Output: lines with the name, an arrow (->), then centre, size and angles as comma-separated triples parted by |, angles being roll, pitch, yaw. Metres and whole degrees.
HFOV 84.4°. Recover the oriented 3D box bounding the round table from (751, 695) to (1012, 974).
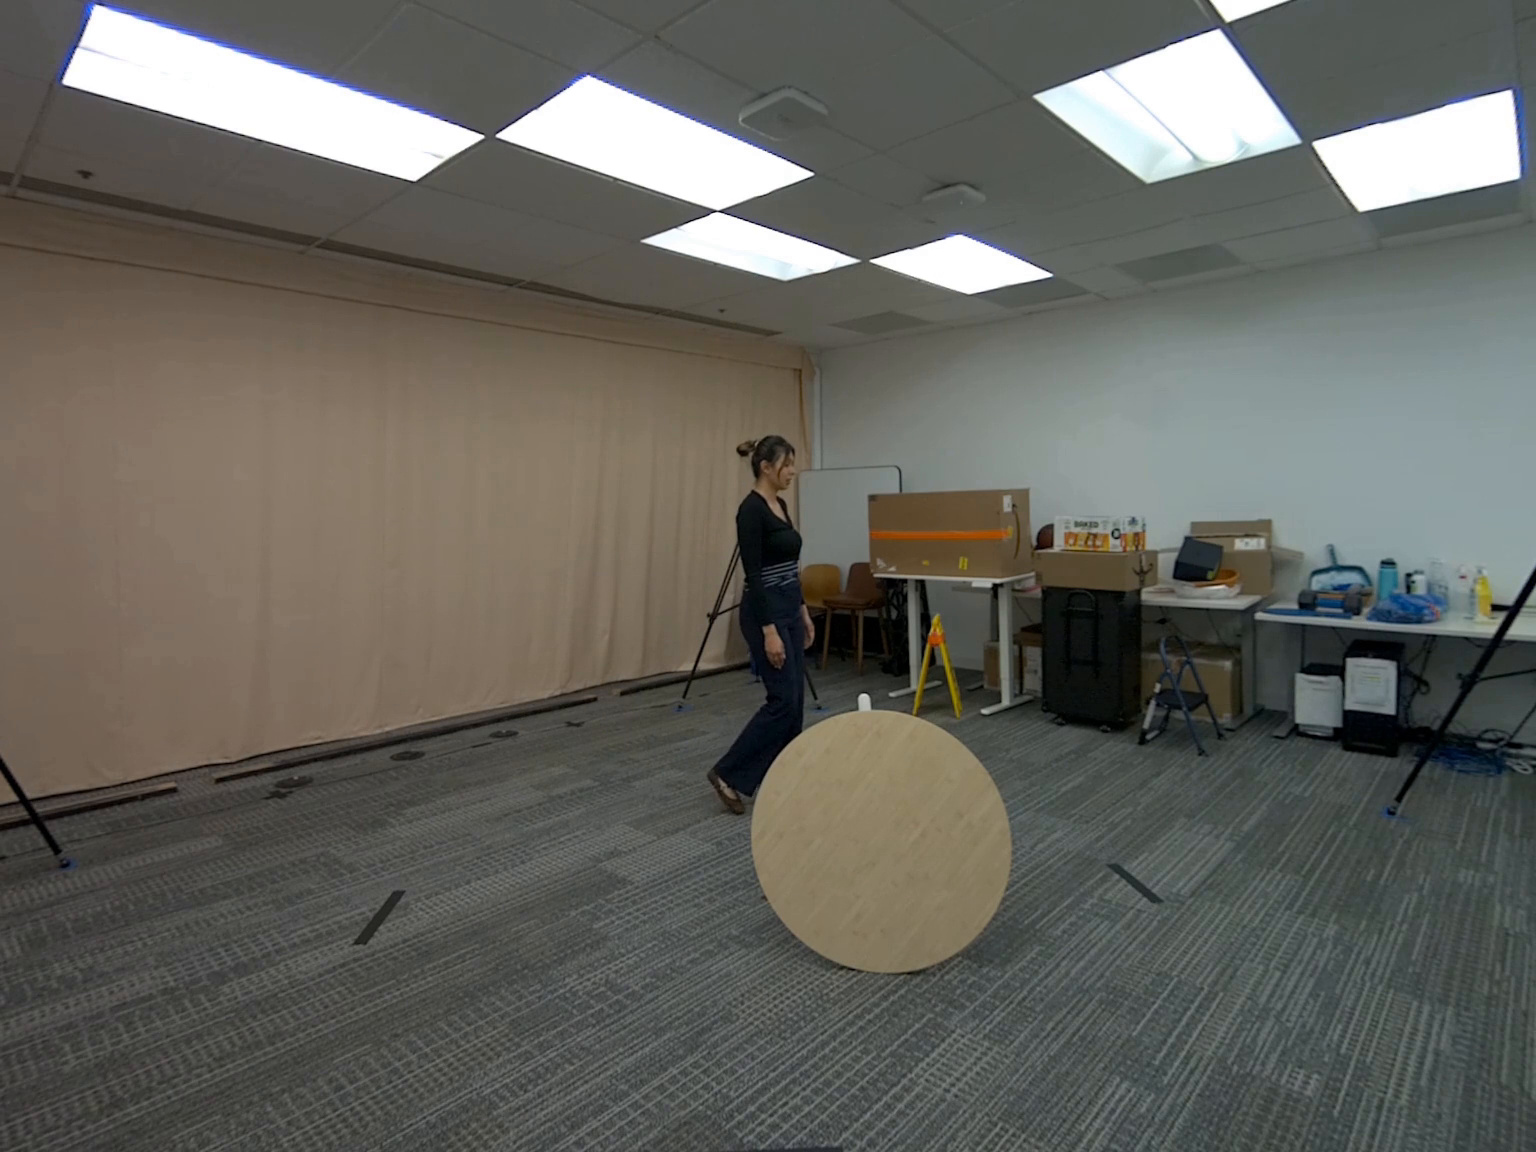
round table -> 0.374, 0.797, 2.906 | 0.771, 0.765, 0.786 | 0, -2, 7
